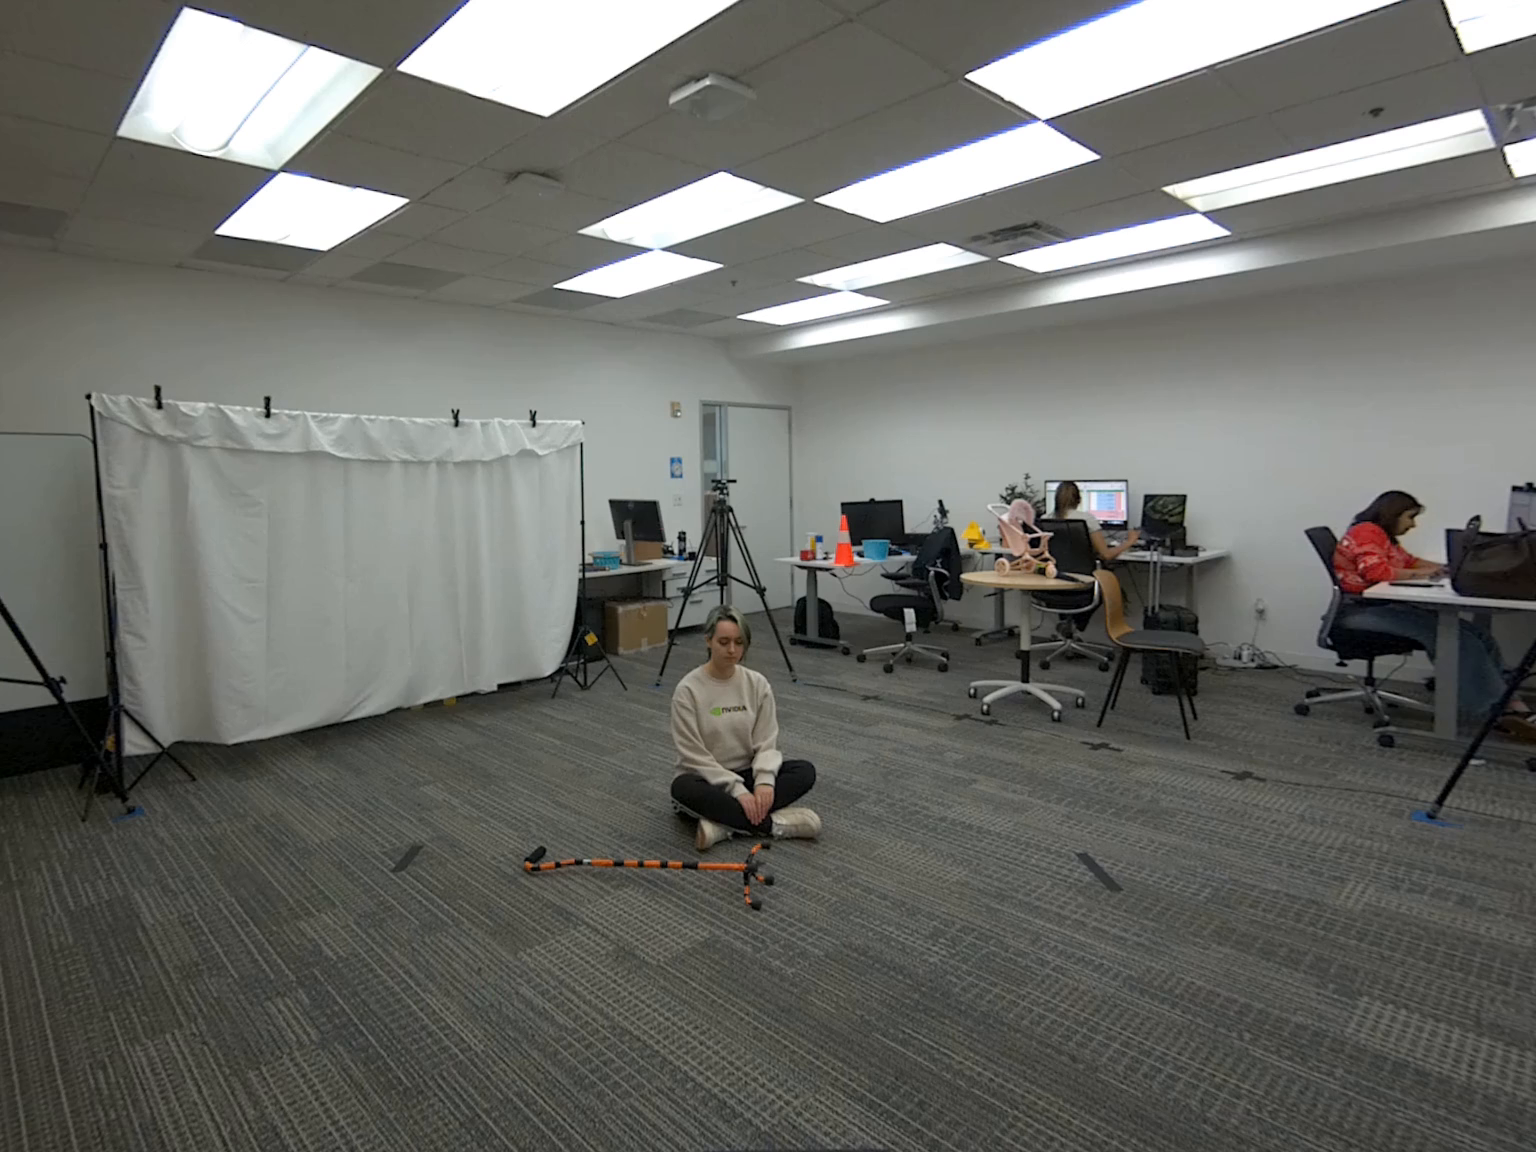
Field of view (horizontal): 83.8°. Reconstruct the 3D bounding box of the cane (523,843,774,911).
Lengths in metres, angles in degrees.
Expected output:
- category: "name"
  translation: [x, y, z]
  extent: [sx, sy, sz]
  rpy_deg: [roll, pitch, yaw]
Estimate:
- category: "cane"
  translation: [-0.445, 1.021, 2.996]
  extent: [0.922, 0.151, 0.204]
  rpy_deg: [-4, 7, 18]
